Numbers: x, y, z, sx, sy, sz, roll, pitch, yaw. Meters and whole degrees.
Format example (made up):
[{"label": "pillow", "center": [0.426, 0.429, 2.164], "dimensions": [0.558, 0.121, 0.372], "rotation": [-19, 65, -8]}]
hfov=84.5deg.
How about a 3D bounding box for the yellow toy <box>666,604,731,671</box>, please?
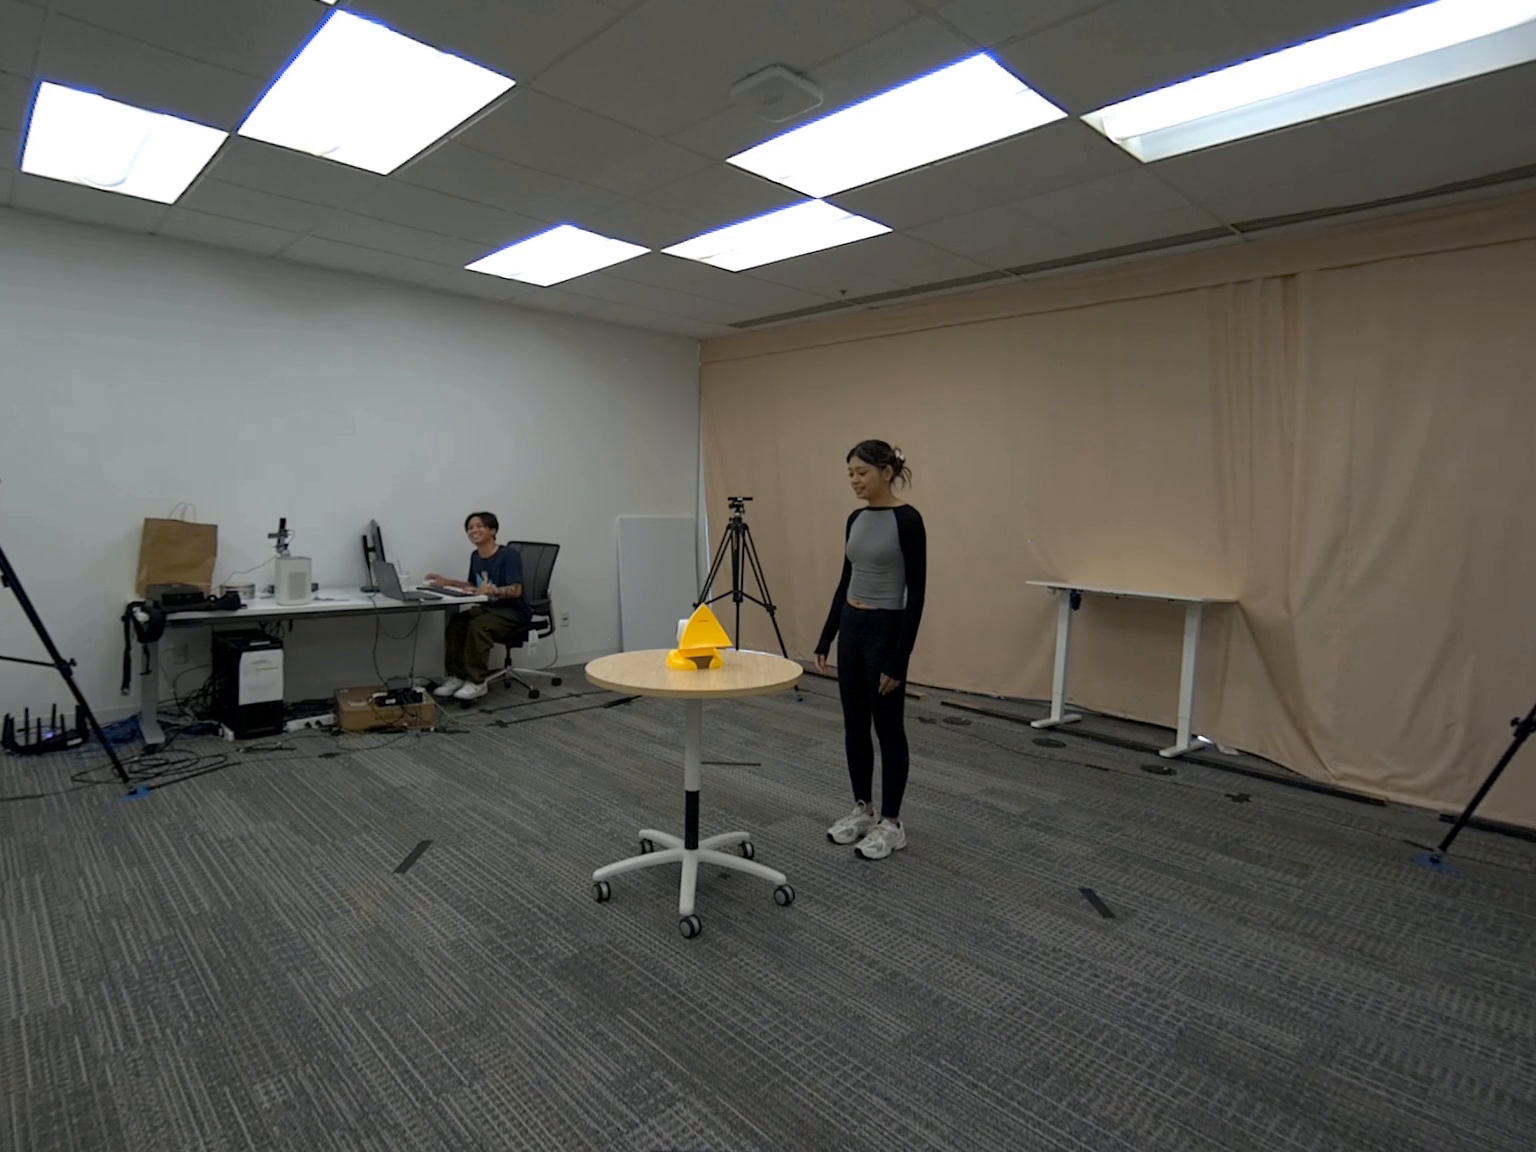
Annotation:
[{"label": "yellow toy", "center": [-0.266, 0.206, 3.001], "dimensions": [0.201, 0.230, 0.197], "rotation": [-1, 4, -28]}]
